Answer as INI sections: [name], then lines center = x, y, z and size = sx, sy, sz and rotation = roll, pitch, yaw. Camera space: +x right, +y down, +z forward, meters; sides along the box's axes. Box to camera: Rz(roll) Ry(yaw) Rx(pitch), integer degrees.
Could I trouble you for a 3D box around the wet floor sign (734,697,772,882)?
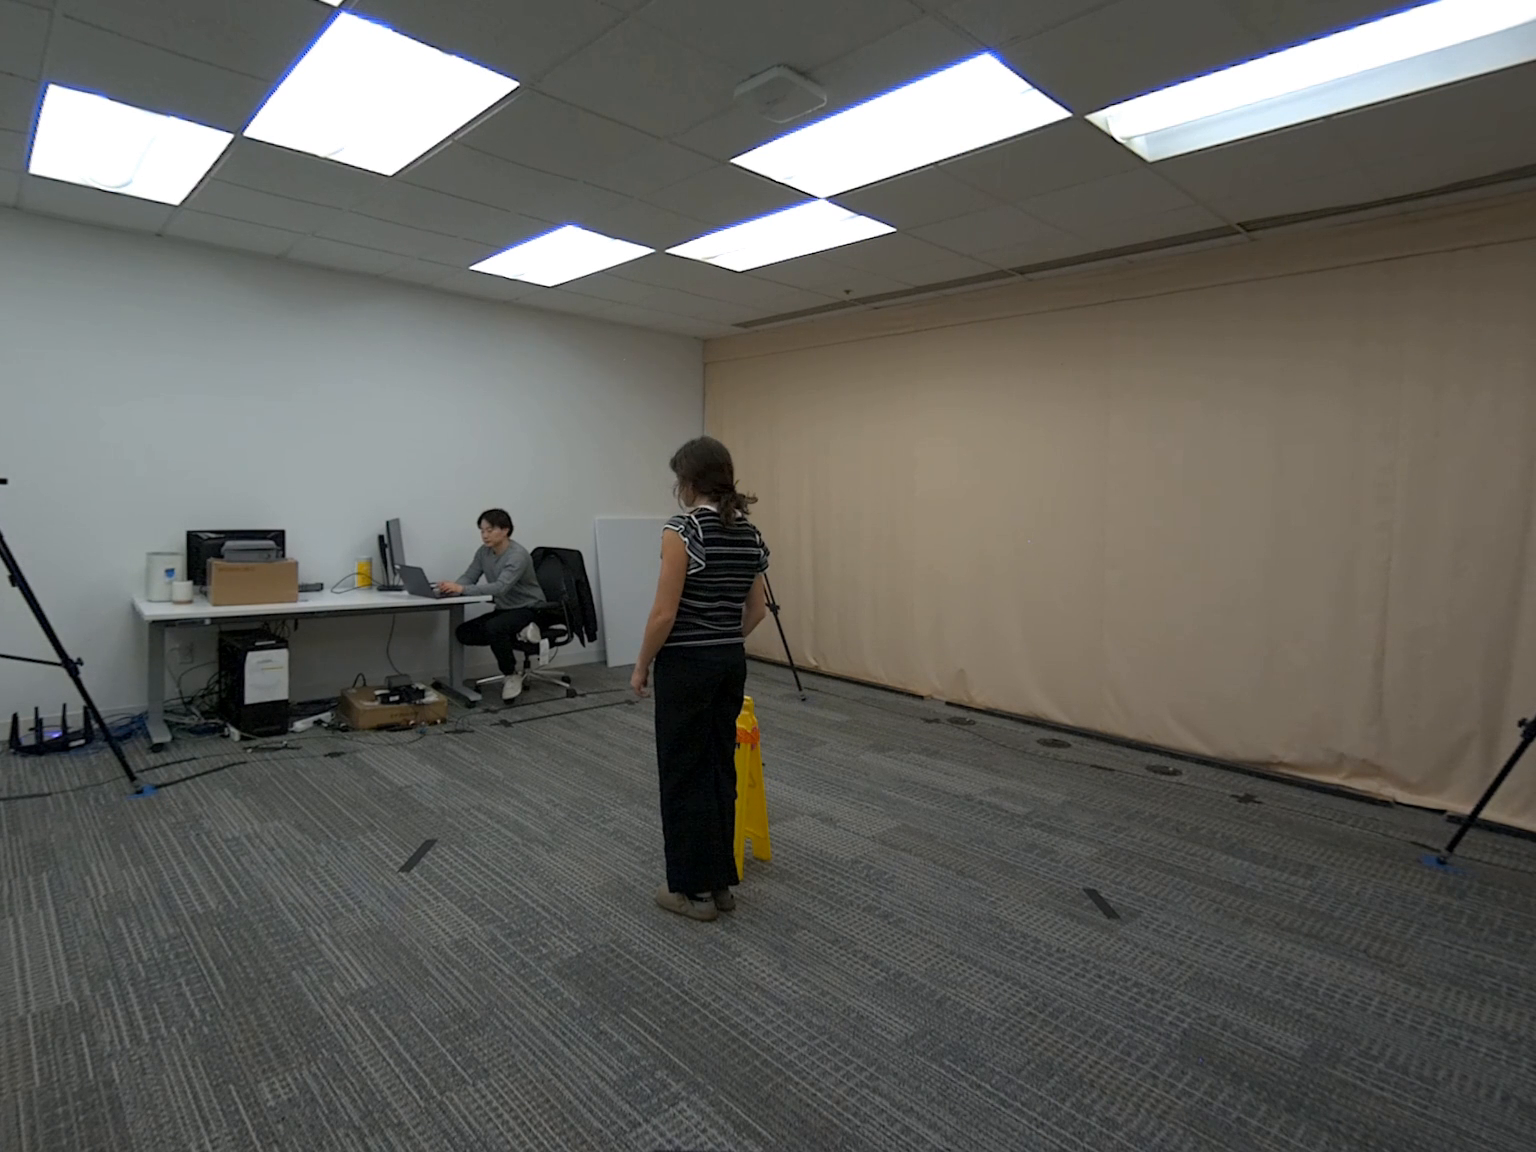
[wet floor sign]
center = -0.161, 0.774, 3.212
size = 0.289, 0.645, 0.284
rotation = 4, 3, 31
